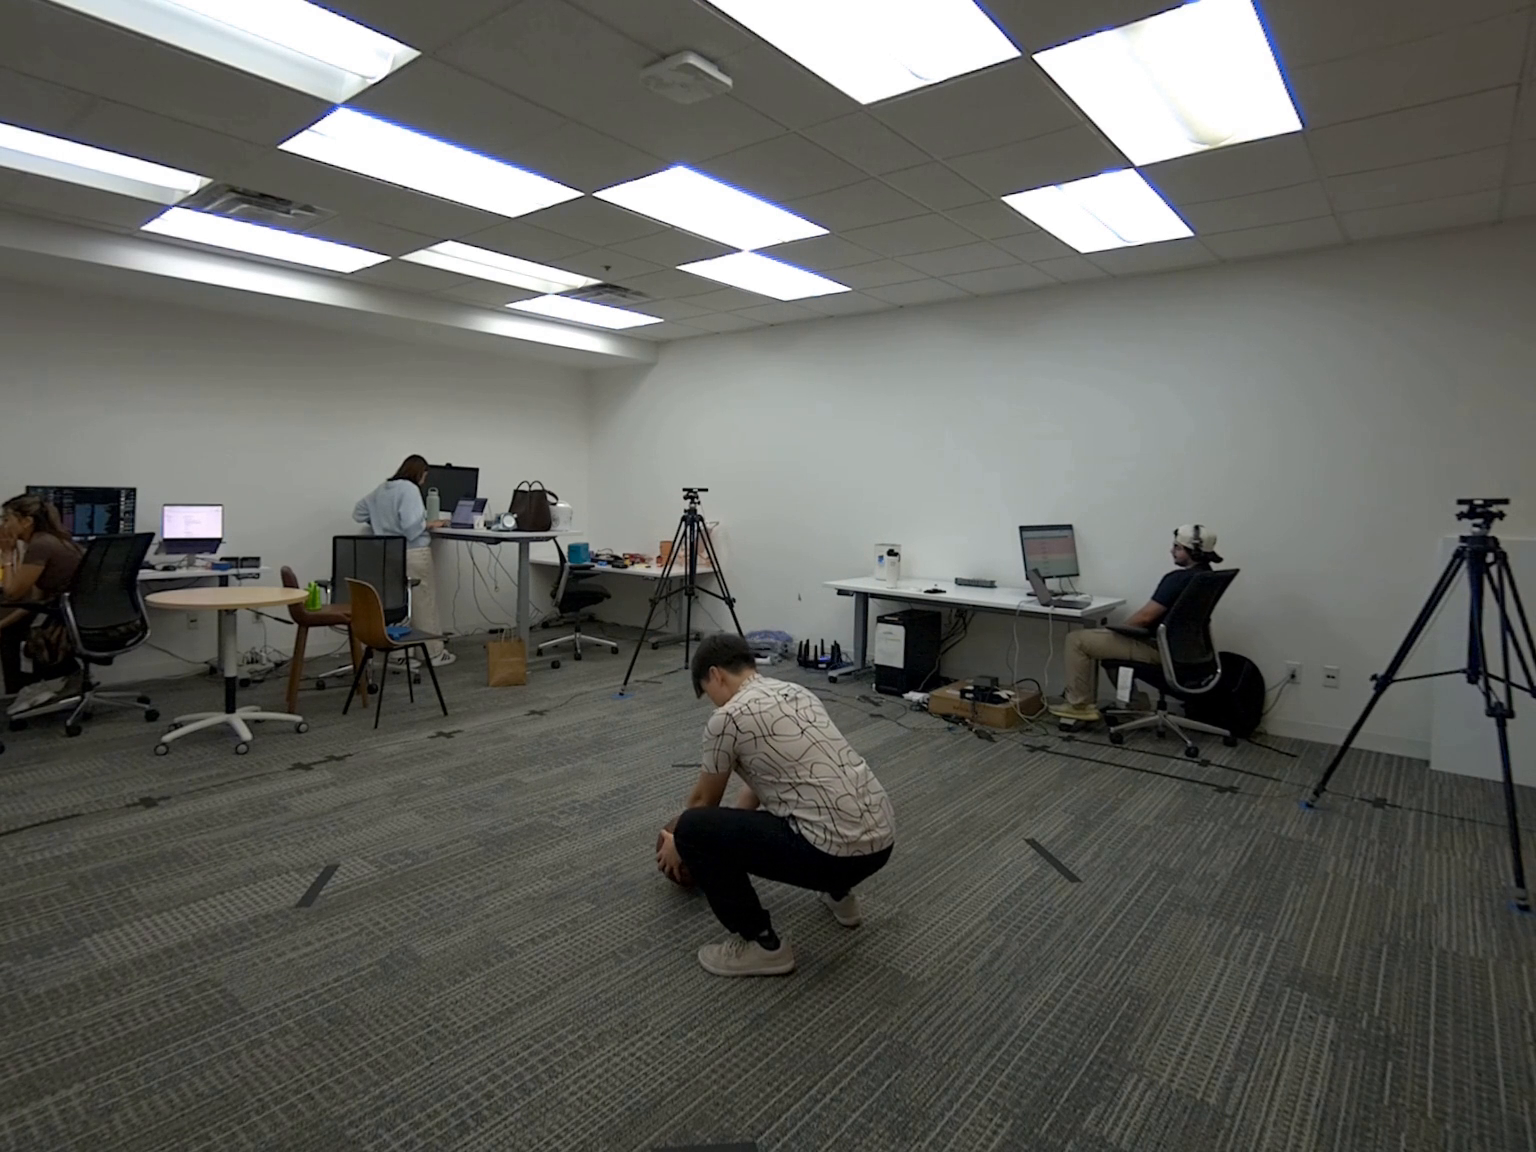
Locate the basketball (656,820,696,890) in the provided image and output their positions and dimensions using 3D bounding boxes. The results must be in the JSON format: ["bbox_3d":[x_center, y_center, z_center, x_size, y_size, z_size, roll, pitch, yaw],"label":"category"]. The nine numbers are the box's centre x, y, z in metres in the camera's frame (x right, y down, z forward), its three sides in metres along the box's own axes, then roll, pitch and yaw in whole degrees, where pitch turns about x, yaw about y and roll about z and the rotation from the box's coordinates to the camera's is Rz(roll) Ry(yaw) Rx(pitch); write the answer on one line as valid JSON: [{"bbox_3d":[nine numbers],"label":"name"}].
[{"bbox_3d":[-0.275,0.934,2.967,0.235,0.235,0.237,1,4,-2],"label":"basketball"}]
